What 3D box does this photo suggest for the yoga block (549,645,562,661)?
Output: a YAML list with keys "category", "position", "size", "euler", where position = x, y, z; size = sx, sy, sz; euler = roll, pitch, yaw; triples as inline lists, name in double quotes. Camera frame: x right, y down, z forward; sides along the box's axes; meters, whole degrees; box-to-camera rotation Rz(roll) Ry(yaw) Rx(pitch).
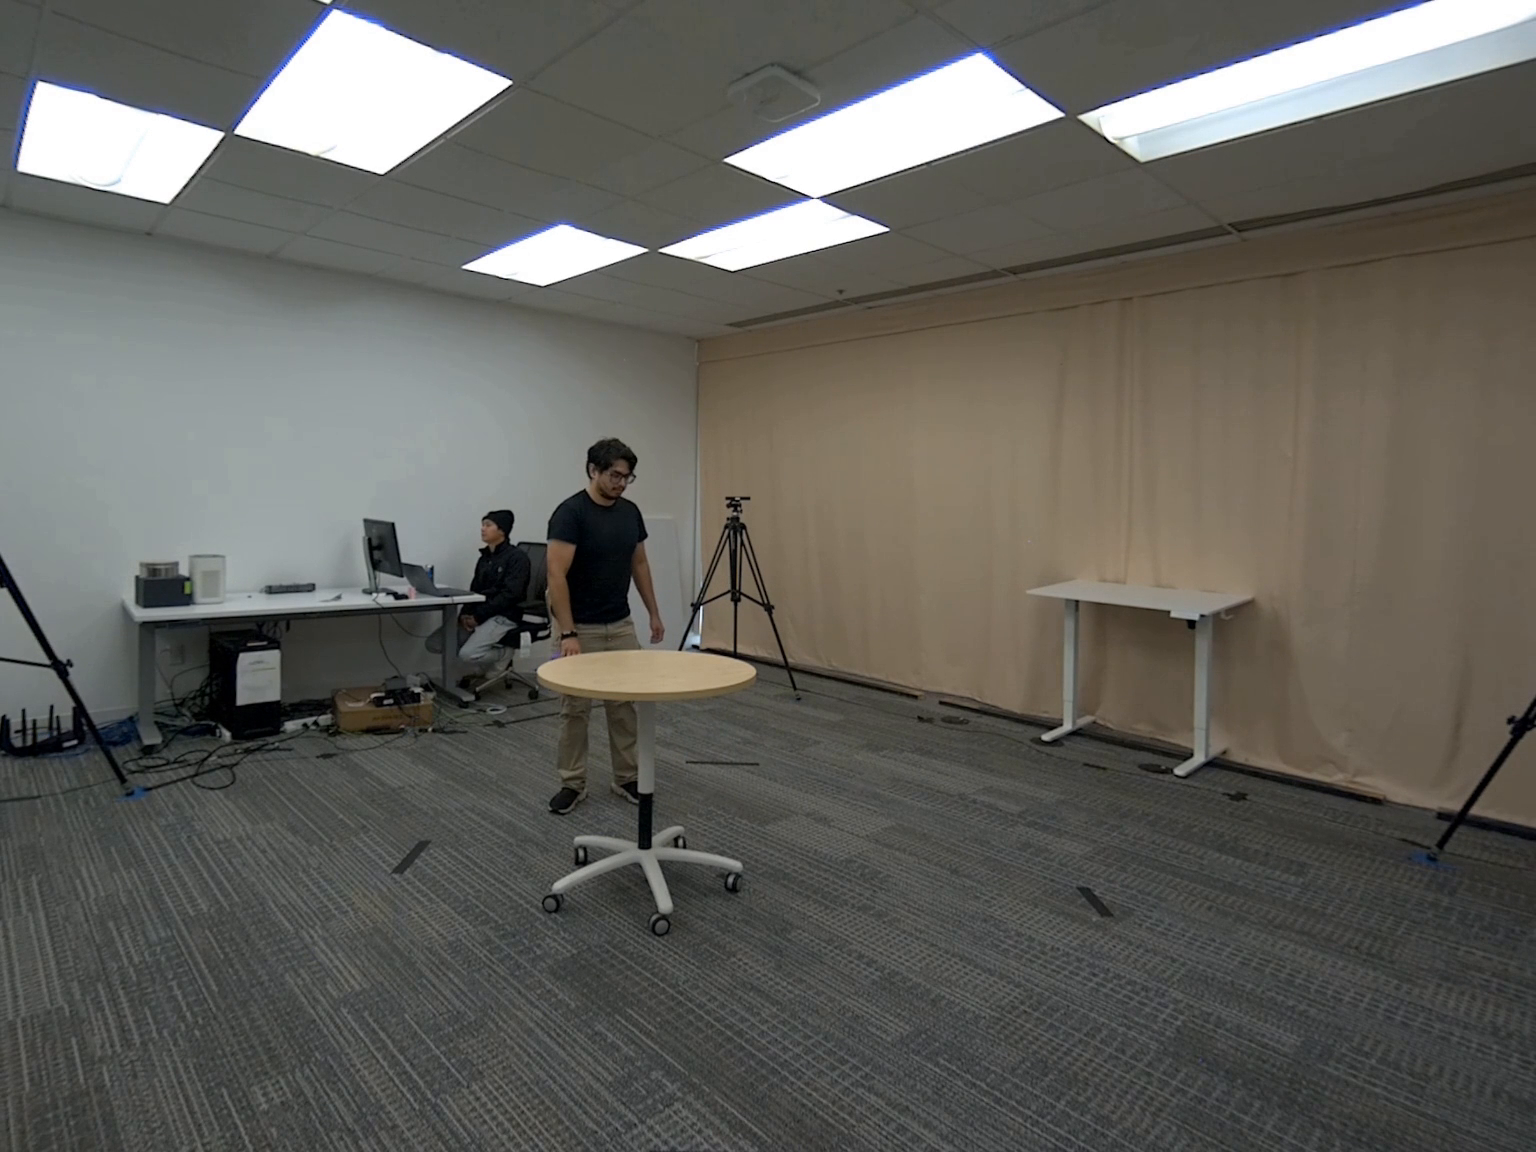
- category: "yoga block"
  position: [-0.832, 0.417, 3.547]
  size: [0.229, 0.147, 0.077]
  euler: [4, 14, -2]
